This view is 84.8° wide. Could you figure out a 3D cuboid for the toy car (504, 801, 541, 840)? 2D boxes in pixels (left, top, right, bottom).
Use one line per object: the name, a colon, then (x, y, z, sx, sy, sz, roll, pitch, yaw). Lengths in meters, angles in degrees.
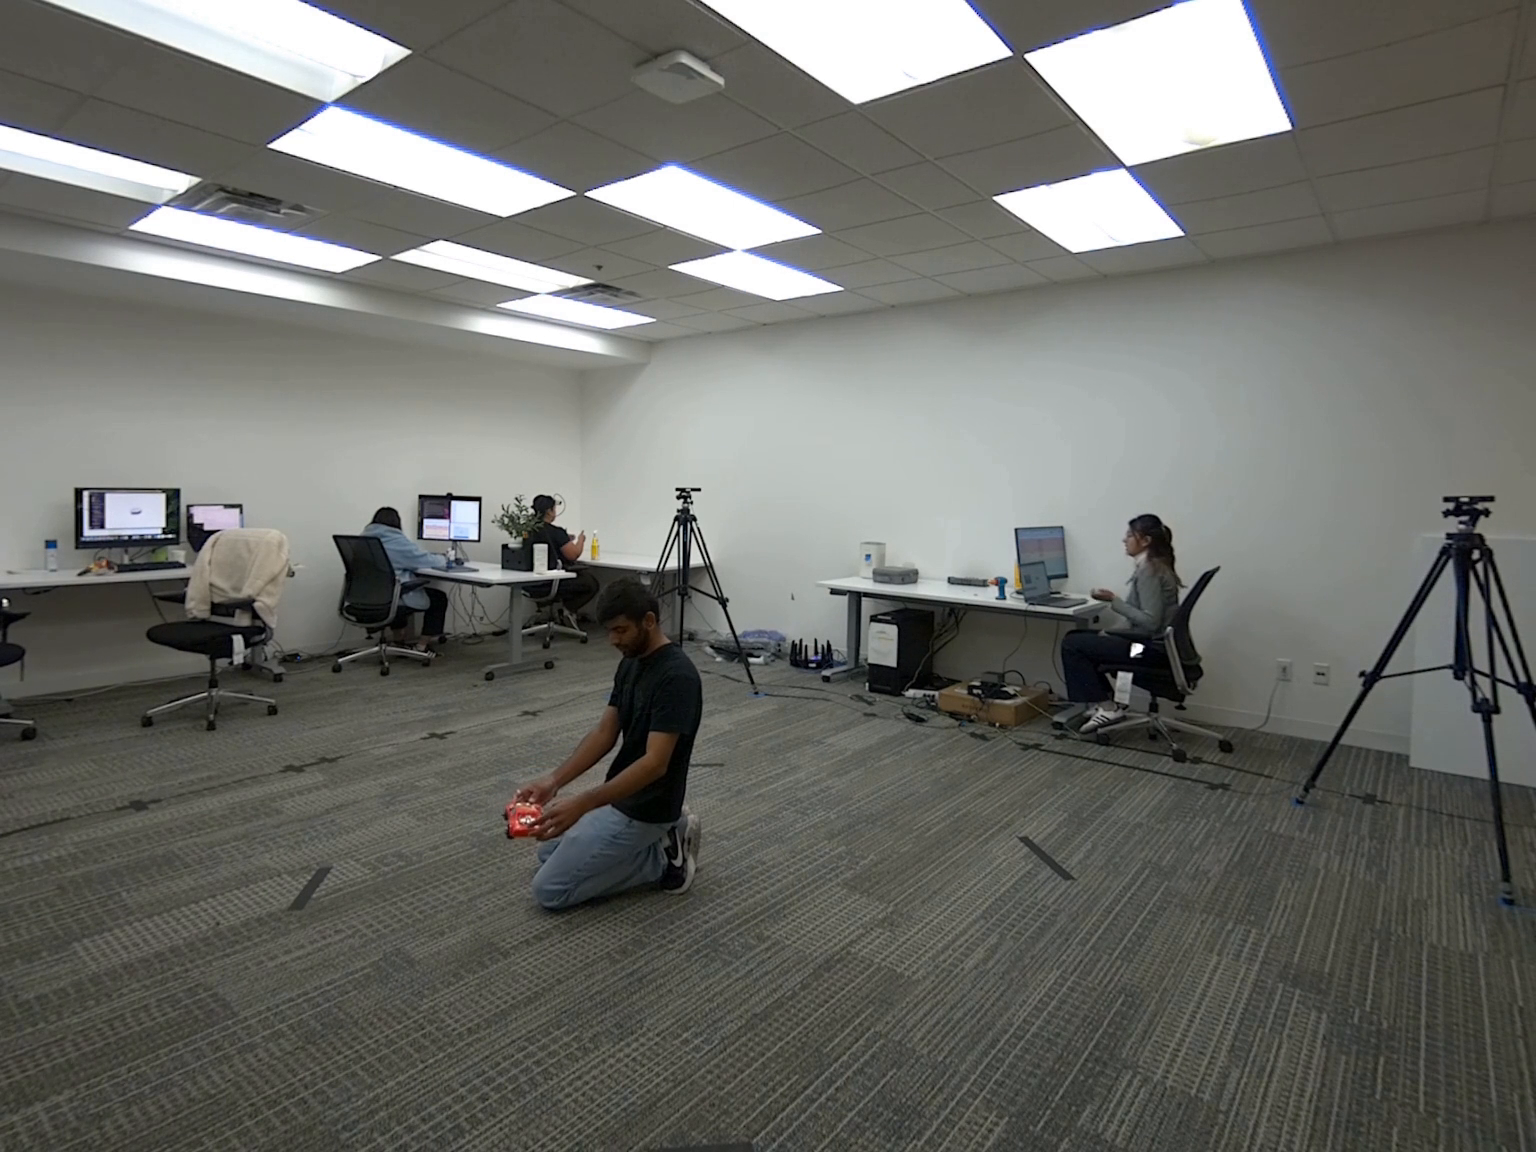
toy car: (-0.762, 0.756, 2.628, 0.128, 0.084, 0.257, 1, -5, -15)
